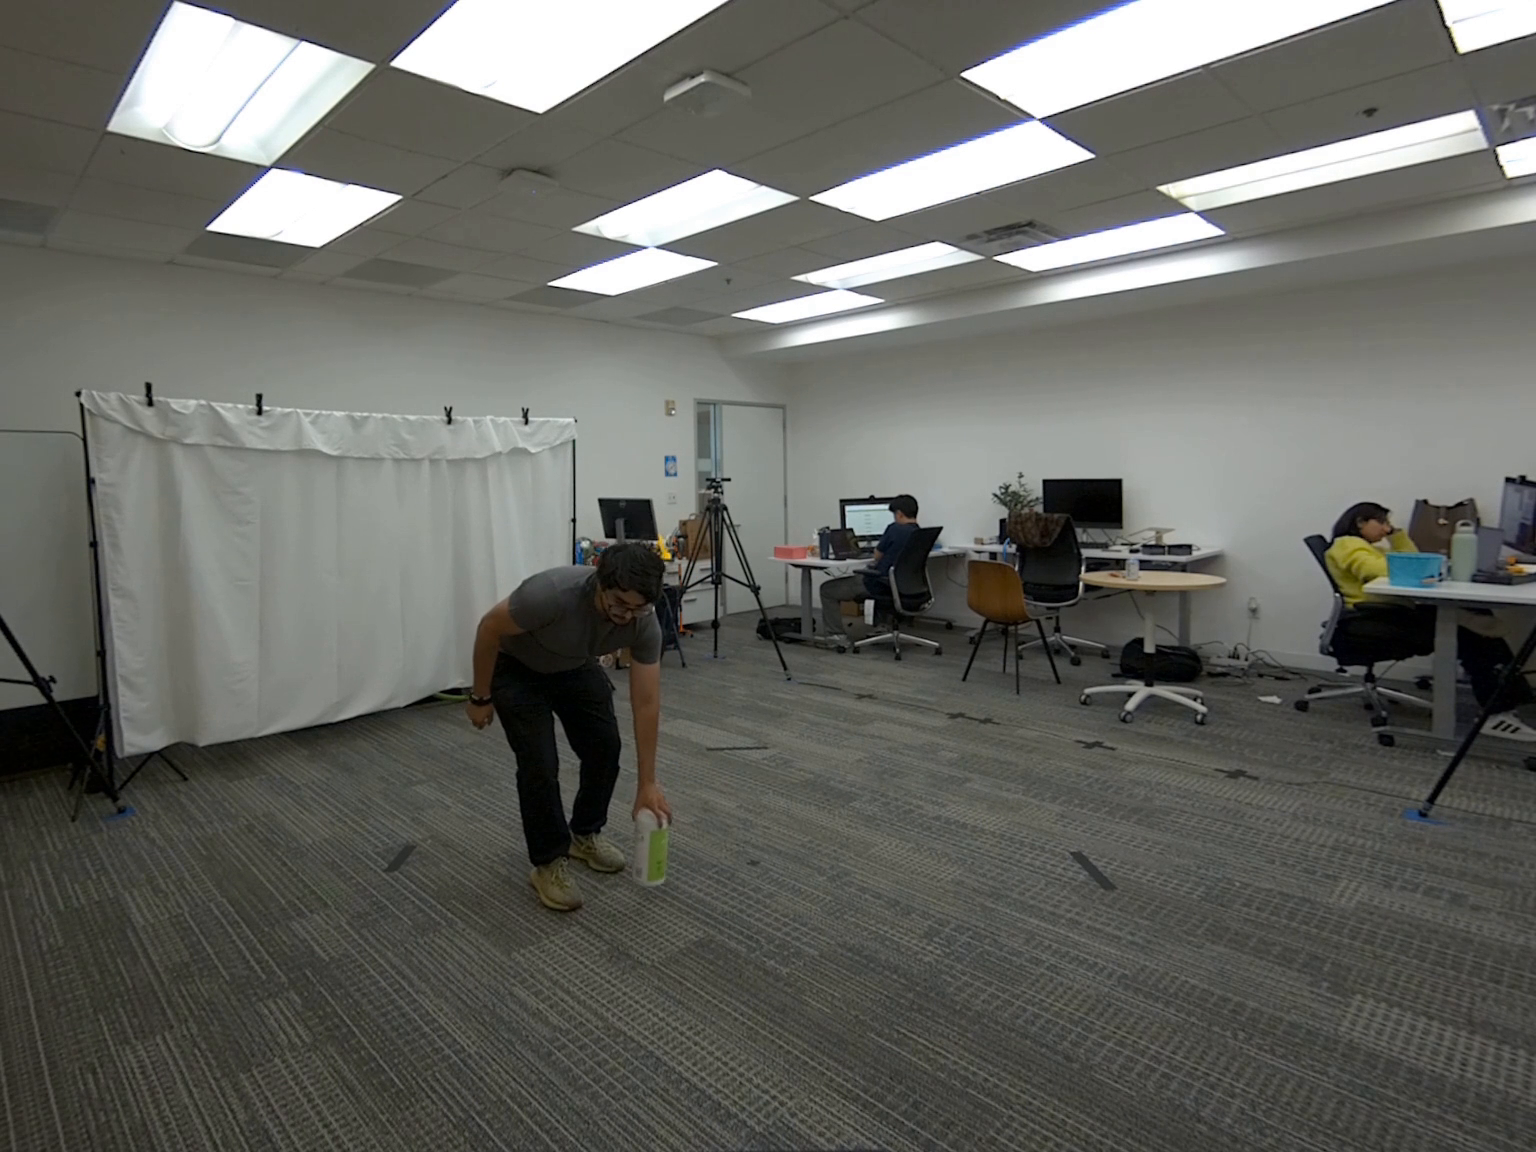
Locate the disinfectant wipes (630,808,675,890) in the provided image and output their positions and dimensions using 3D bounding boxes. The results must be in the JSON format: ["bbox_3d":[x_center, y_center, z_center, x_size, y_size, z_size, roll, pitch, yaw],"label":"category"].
[{"bbox_3d":[-0.374,0.874,2.769,0.118,0.217,0.118,4,1,-2],"label":"disinfectant wipes"}]
